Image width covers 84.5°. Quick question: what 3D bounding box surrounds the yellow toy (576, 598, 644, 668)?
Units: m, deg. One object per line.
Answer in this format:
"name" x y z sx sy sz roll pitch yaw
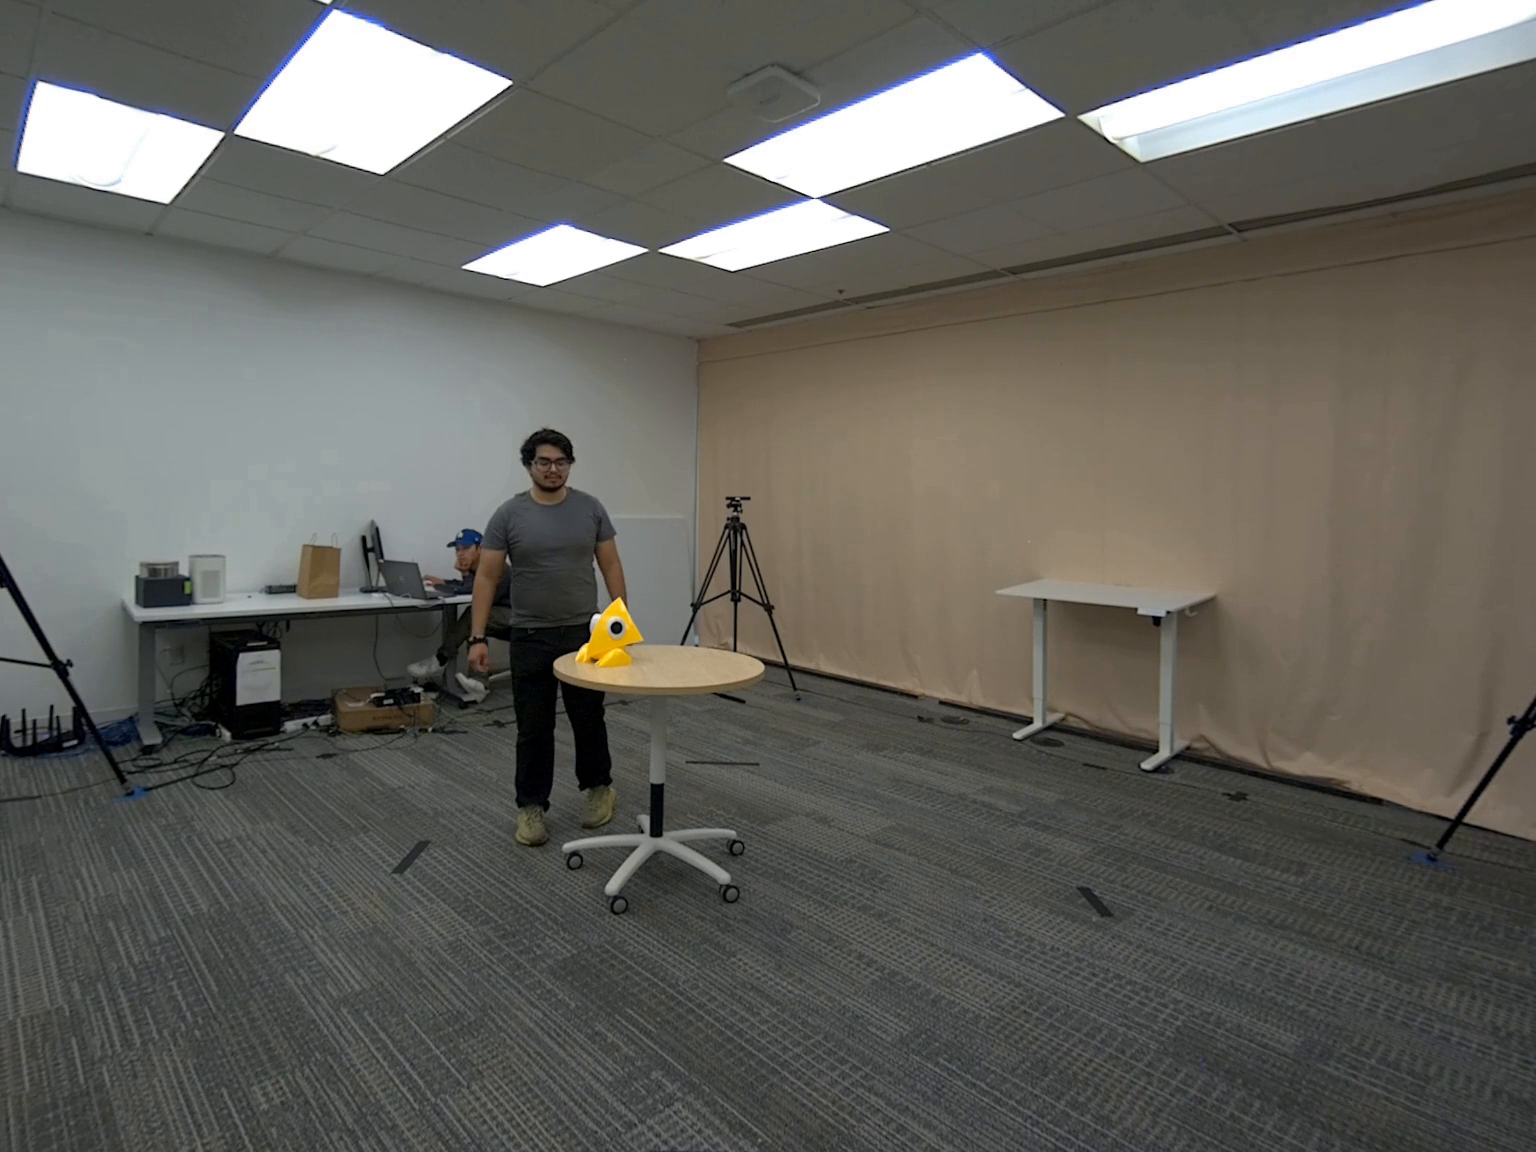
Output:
"yellow toy" -0.598 0.201 3.083 0.210 0.230 0.189 5 6 37
